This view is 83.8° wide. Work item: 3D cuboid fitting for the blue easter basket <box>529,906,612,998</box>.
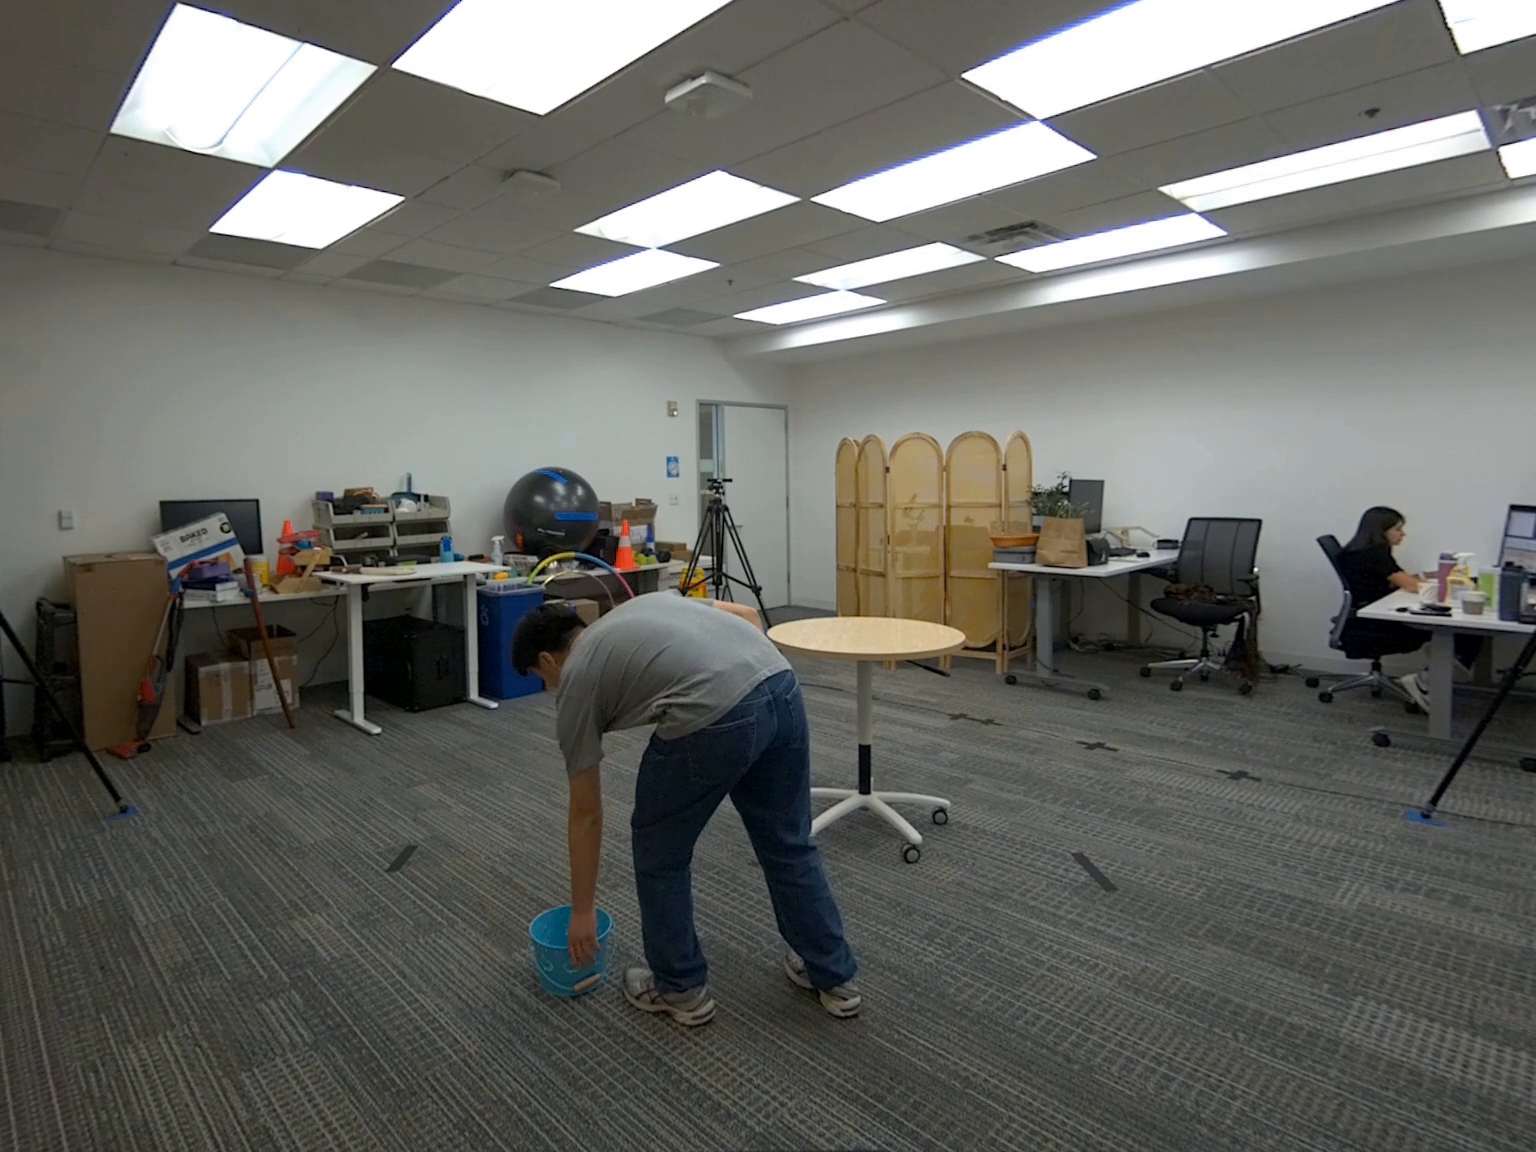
[{"bbox_3d":[-0.548,1.051,2.410,0.243,0.155,0.245,-1,6,-2],"label":"blue easter basket"}]
